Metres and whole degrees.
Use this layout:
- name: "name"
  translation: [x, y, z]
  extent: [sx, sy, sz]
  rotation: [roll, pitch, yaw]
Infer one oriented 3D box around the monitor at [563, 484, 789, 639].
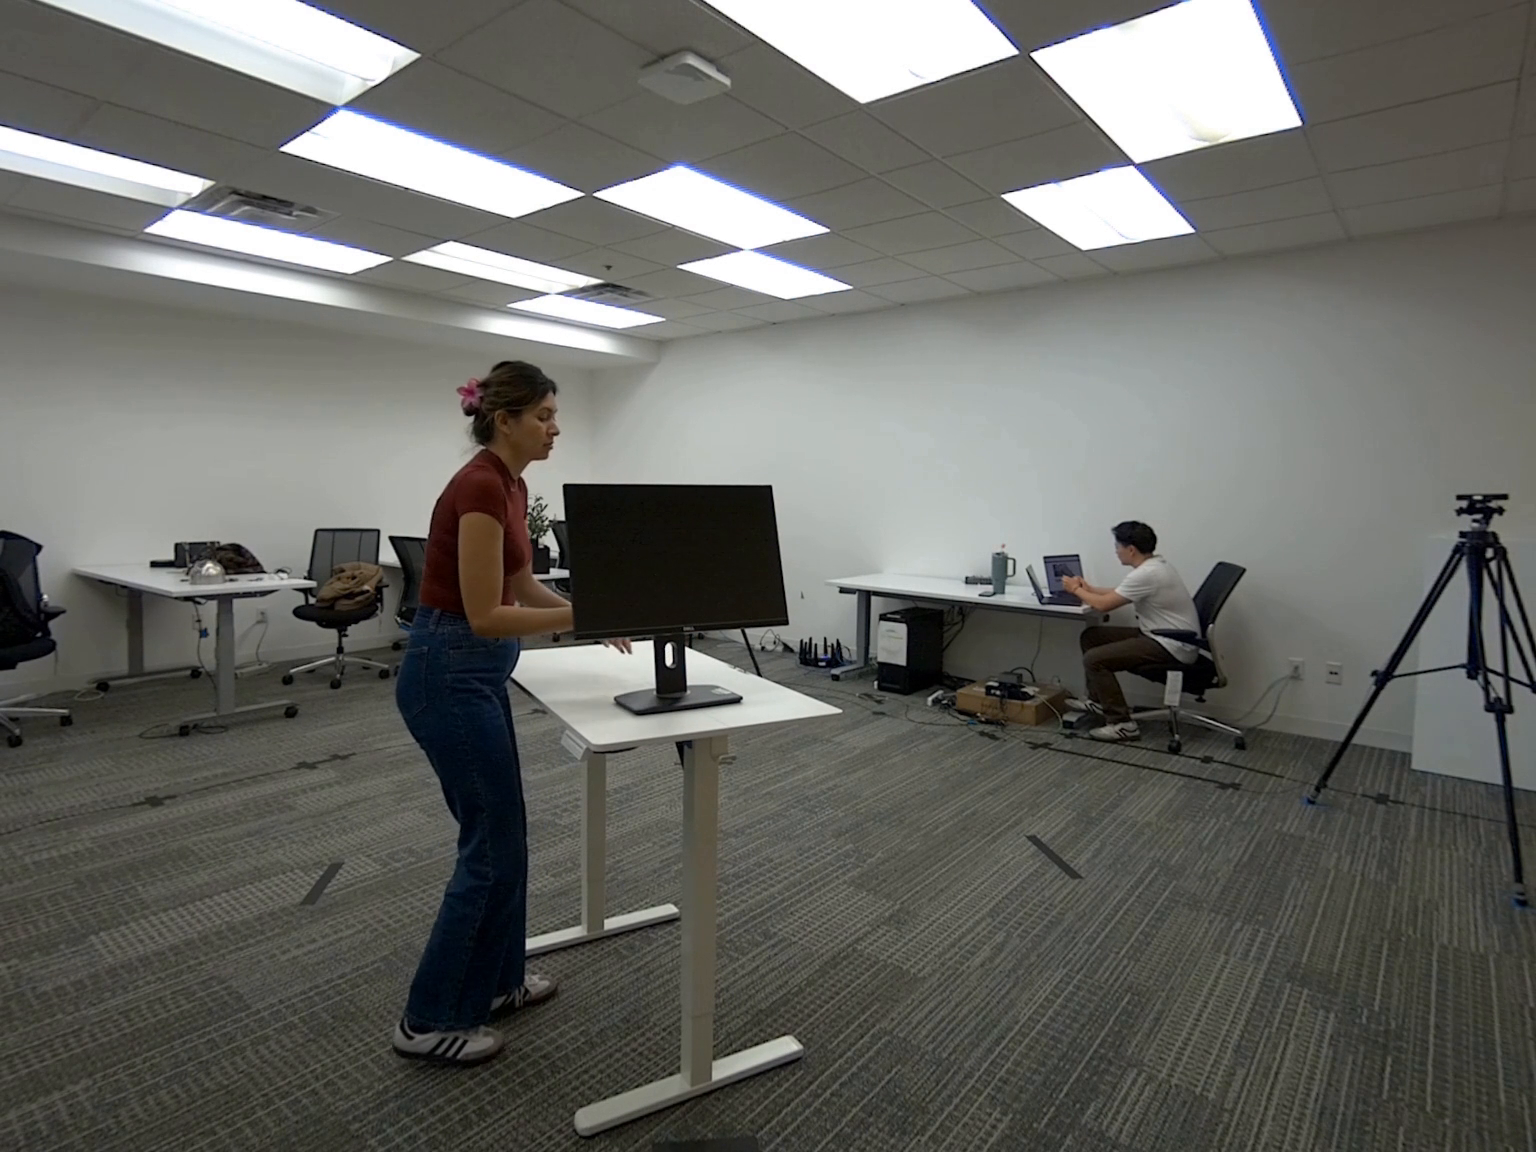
- name: "monitor"
  translation: [-0.231, 0.046, 2.011]
  extent: [0.525, 0.522, 0.192]
  rotation: [-2, 2, -28]
